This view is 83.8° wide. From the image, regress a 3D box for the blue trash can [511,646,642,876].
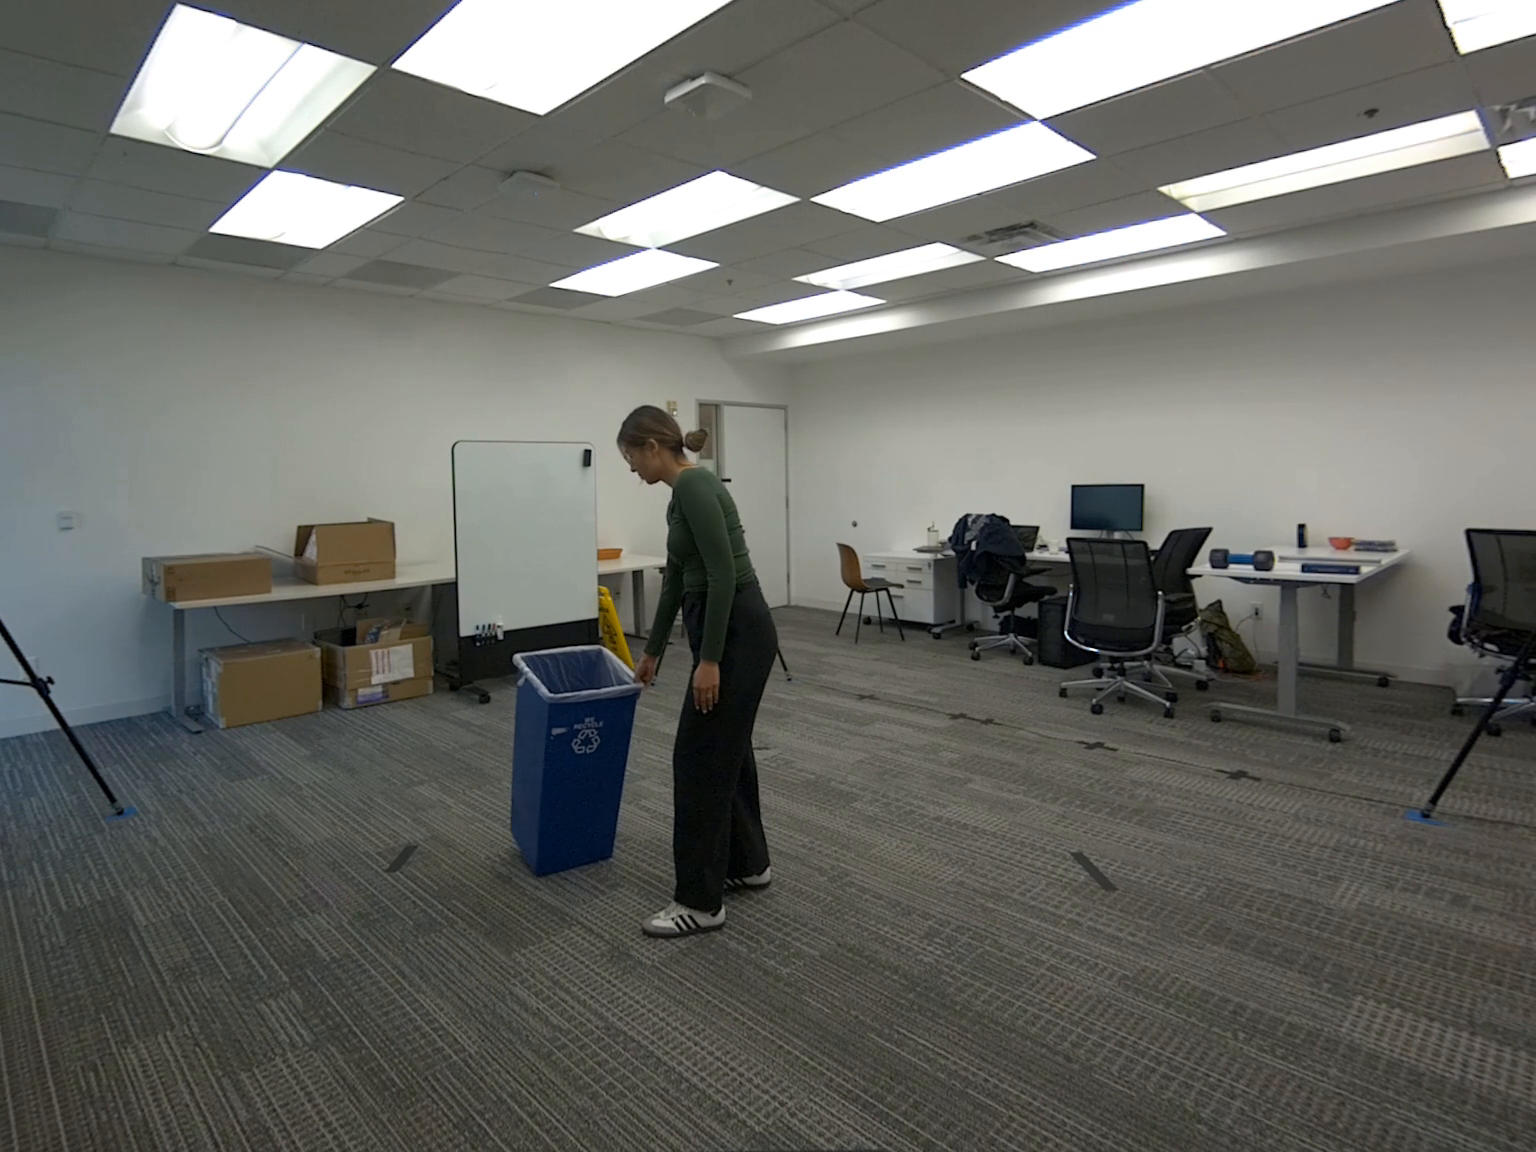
[{"bbox_3d":[-0.736,0.670,3.130,0.368,0.706,0.388,-2,18,-37],"label":"blue trash can"}]
